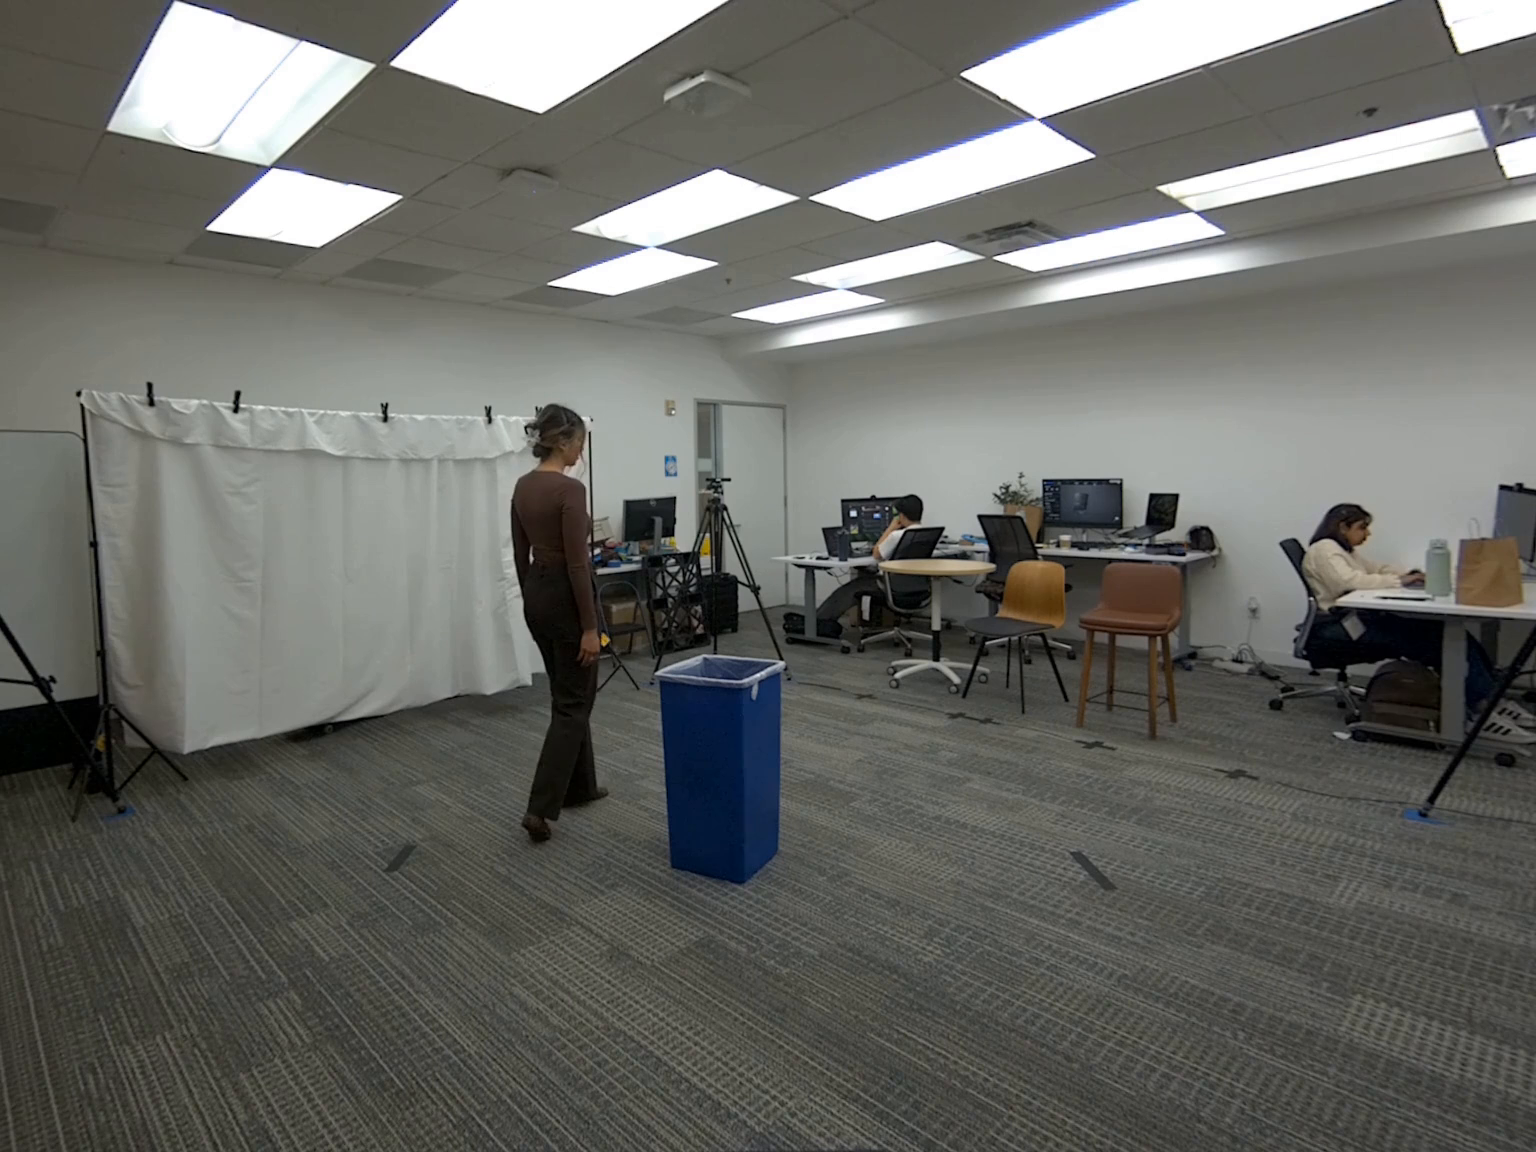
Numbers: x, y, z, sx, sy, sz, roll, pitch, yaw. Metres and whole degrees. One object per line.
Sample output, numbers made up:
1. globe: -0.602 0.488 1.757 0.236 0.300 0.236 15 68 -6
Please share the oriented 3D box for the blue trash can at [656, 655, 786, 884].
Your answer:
1. blue trash can: -0.157 0.684 3.112 0.387 0.712 0.366 1 3 26
